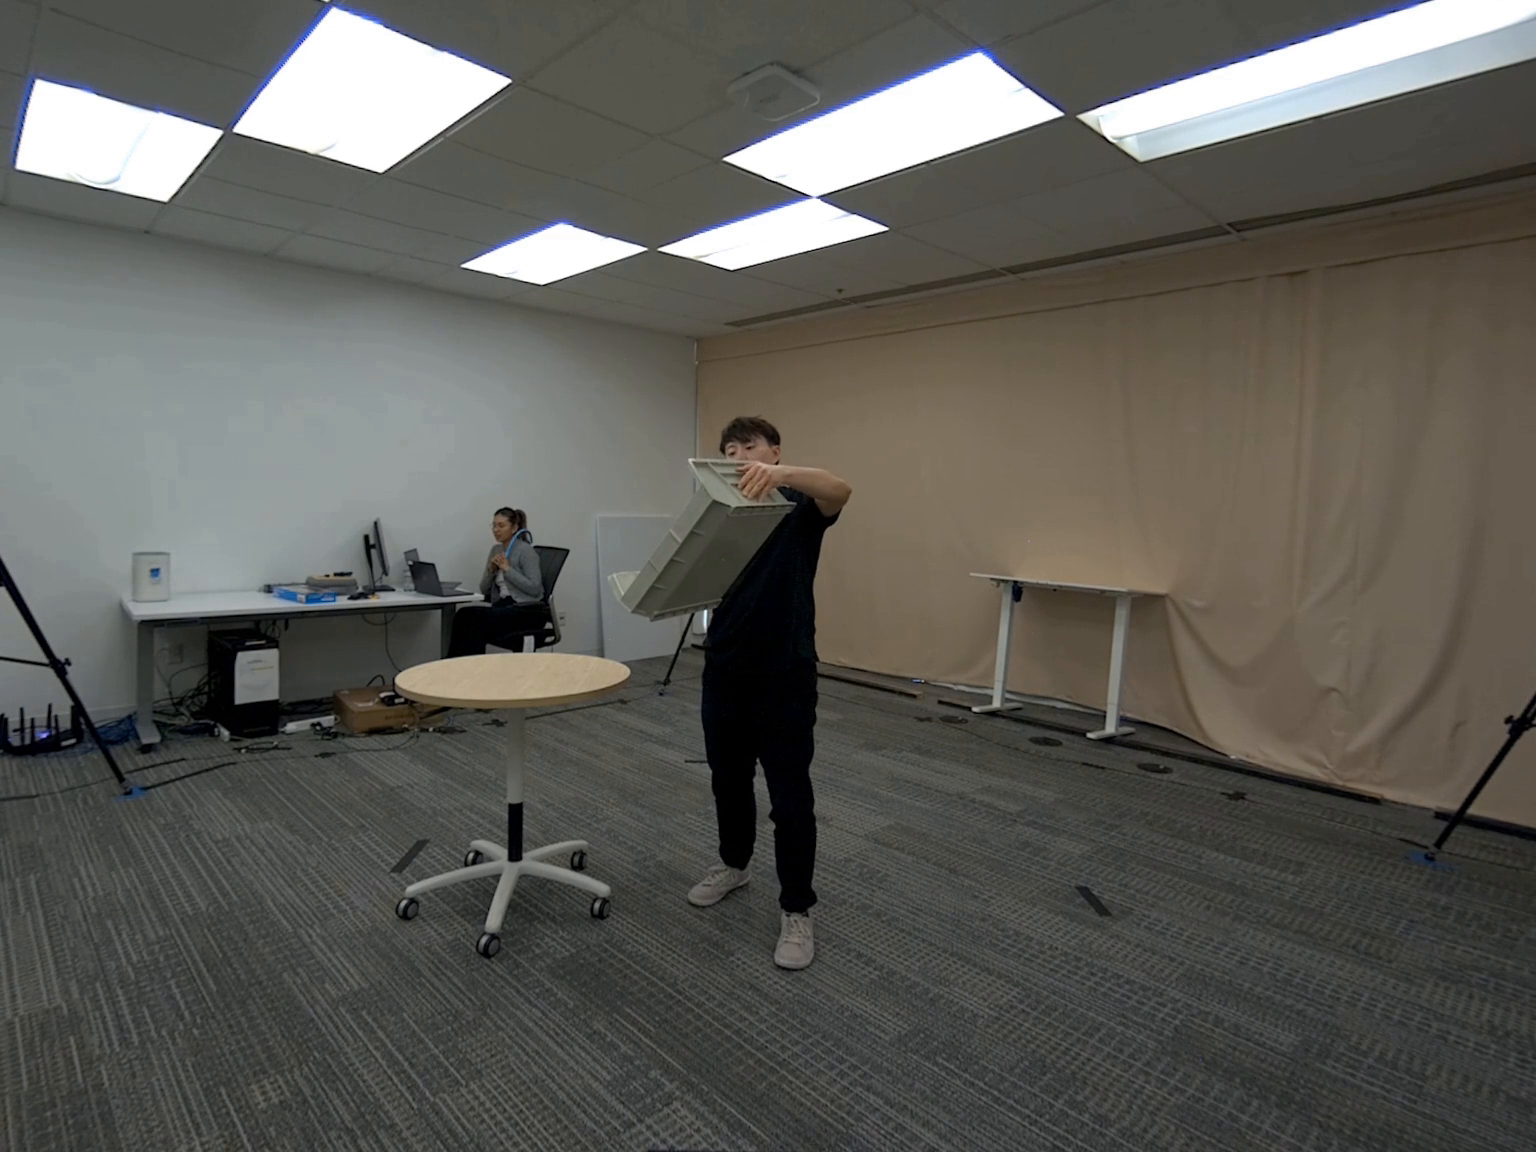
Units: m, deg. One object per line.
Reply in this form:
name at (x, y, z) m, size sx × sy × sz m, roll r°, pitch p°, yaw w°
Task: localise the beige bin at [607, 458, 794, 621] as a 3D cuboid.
beige bin at (-0.194, -0.094, 2.284) m, size 0.193 × 0.421 × 0.371 m, roll 46°, pitch 25°, yaw 18°
